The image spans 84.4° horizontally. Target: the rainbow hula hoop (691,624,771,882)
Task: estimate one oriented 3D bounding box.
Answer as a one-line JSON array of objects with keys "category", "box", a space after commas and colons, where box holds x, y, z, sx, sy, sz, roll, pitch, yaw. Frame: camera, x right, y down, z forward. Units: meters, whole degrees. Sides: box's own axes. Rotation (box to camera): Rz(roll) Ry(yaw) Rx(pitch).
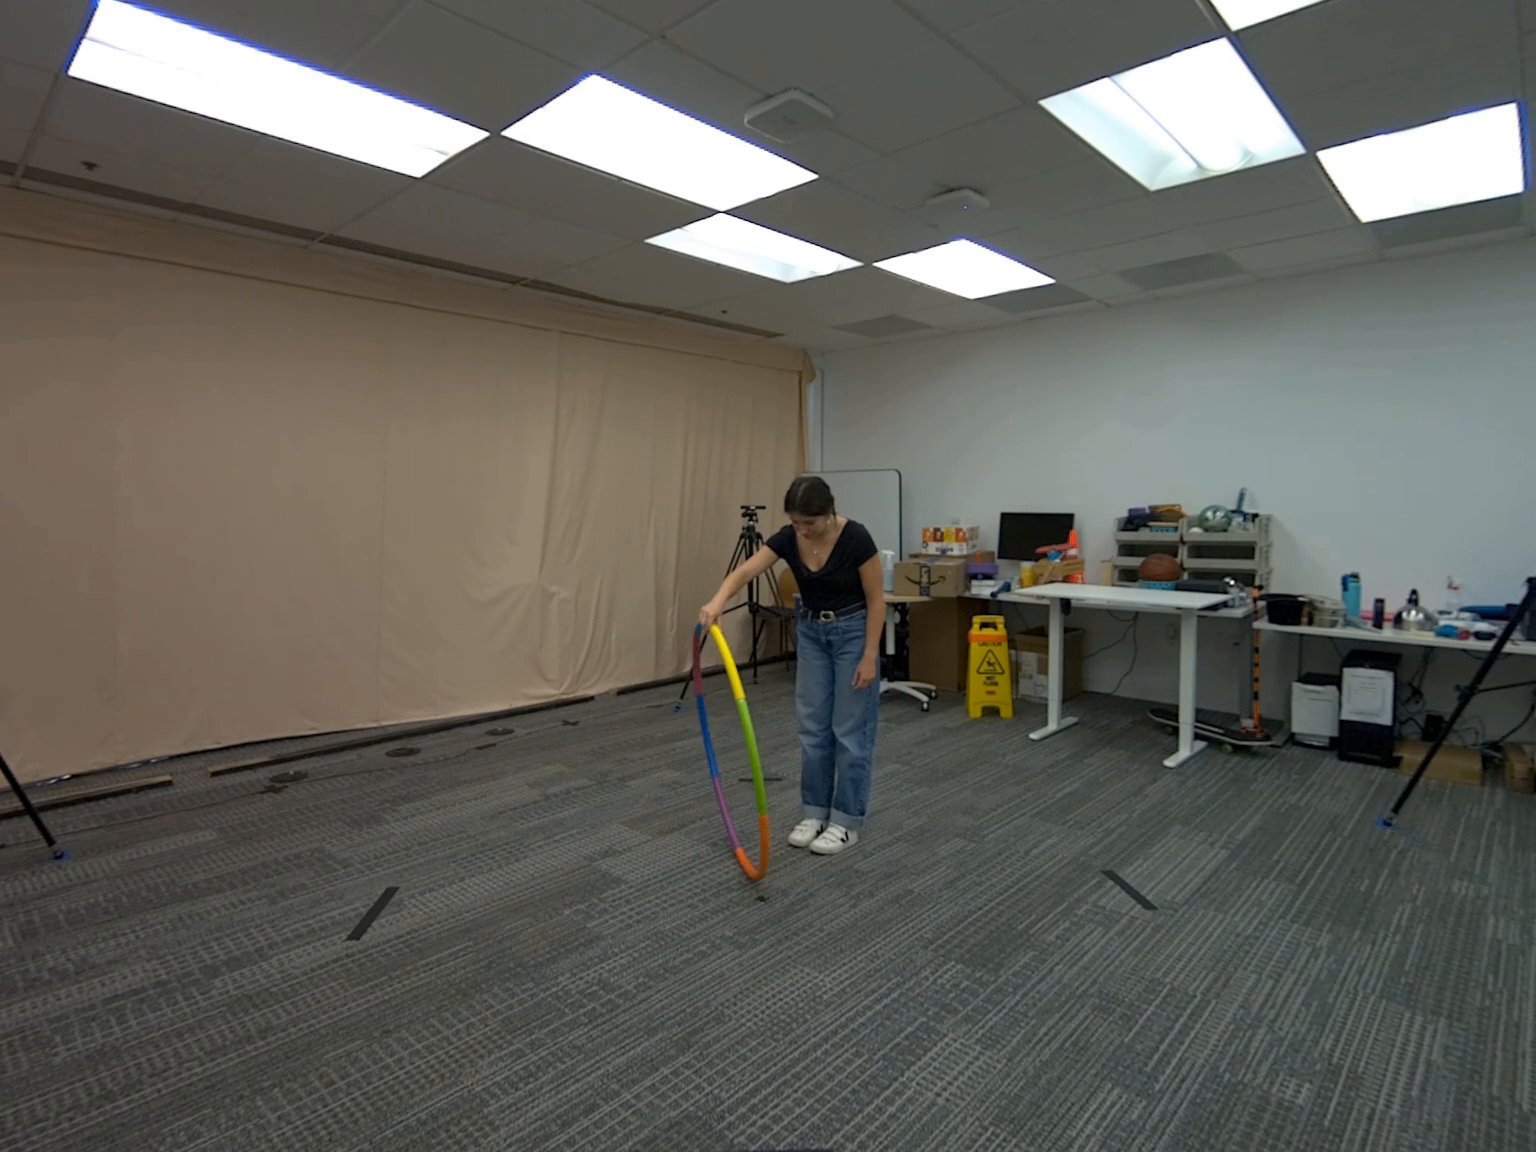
[{"category": "rainbow hula hoop", "box": [-0.147, 0.644, 3.195, 0.035, 0.975, 0.995, -9, 6, -15]}]
